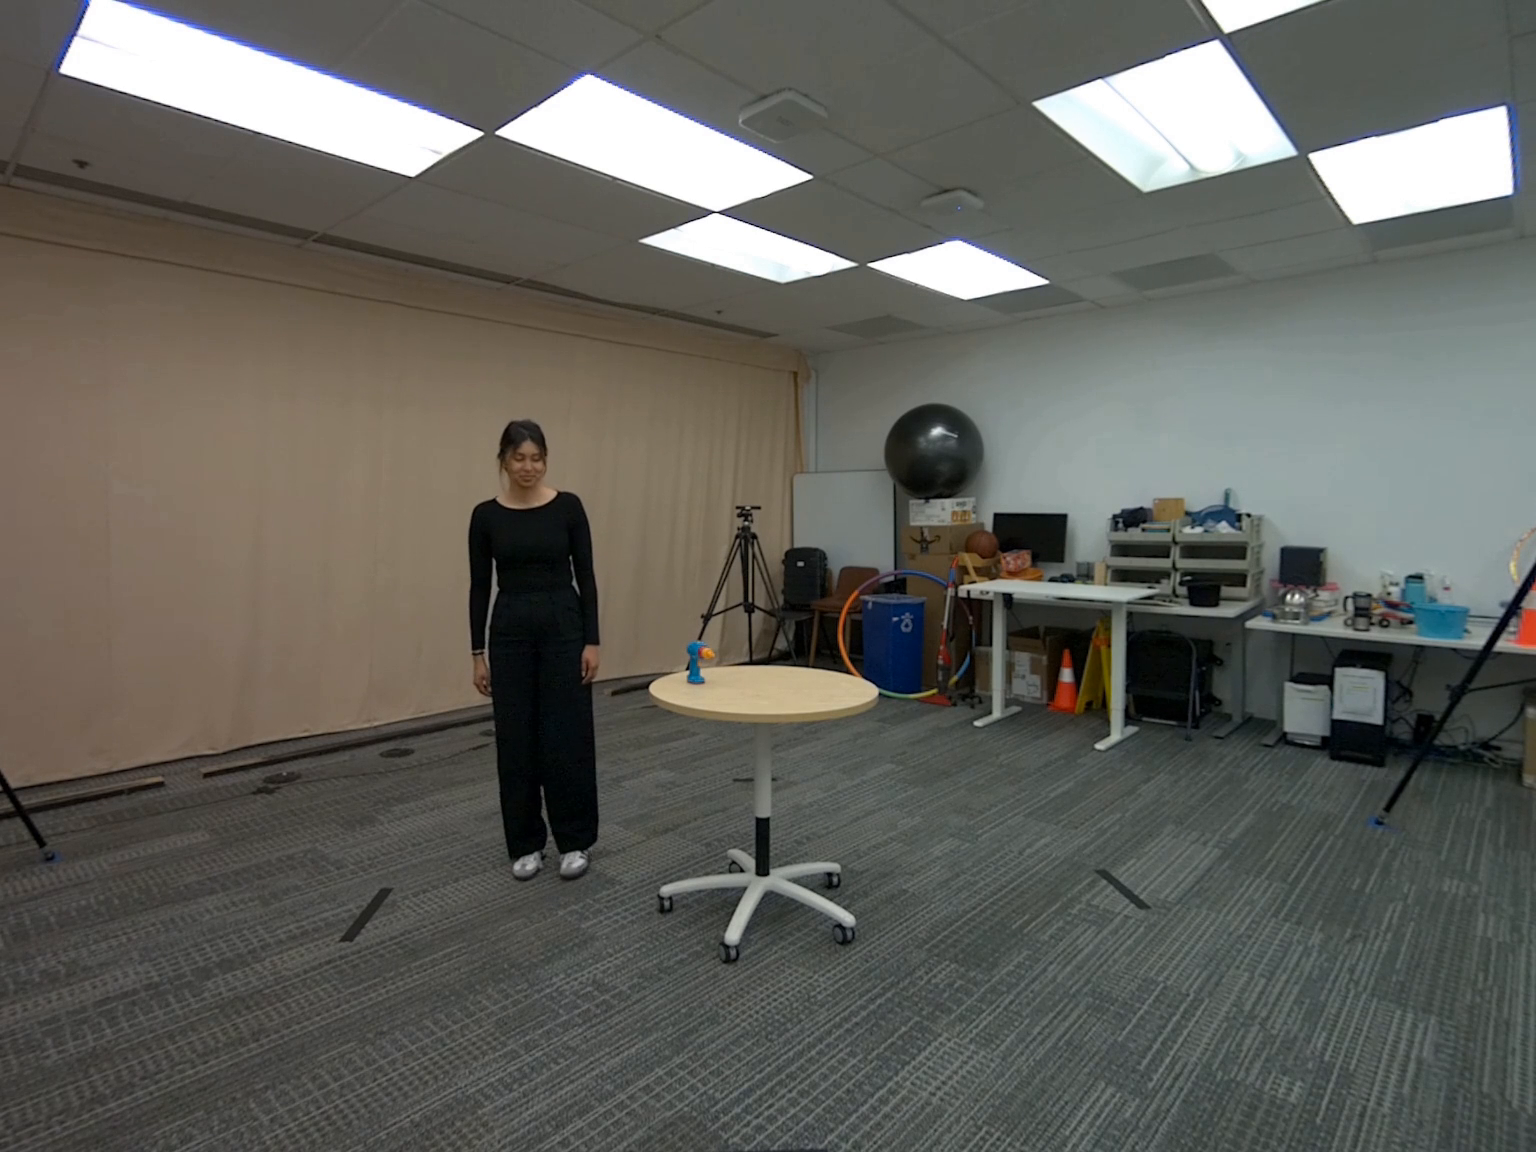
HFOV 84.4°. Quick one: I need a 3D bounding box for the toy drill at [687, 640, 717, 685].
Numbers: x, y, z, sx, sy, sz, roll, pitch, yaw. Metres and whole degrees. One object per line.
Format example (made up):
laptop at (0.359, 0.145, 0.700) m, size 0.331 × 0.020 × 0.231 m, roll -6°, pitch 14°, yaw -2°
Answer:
toy drill at (-0.221, 0.296, 2.871) m, size 0.059 × 0.146 × 0.175 m, roll -1°, pitch 4°, yaw -31°
